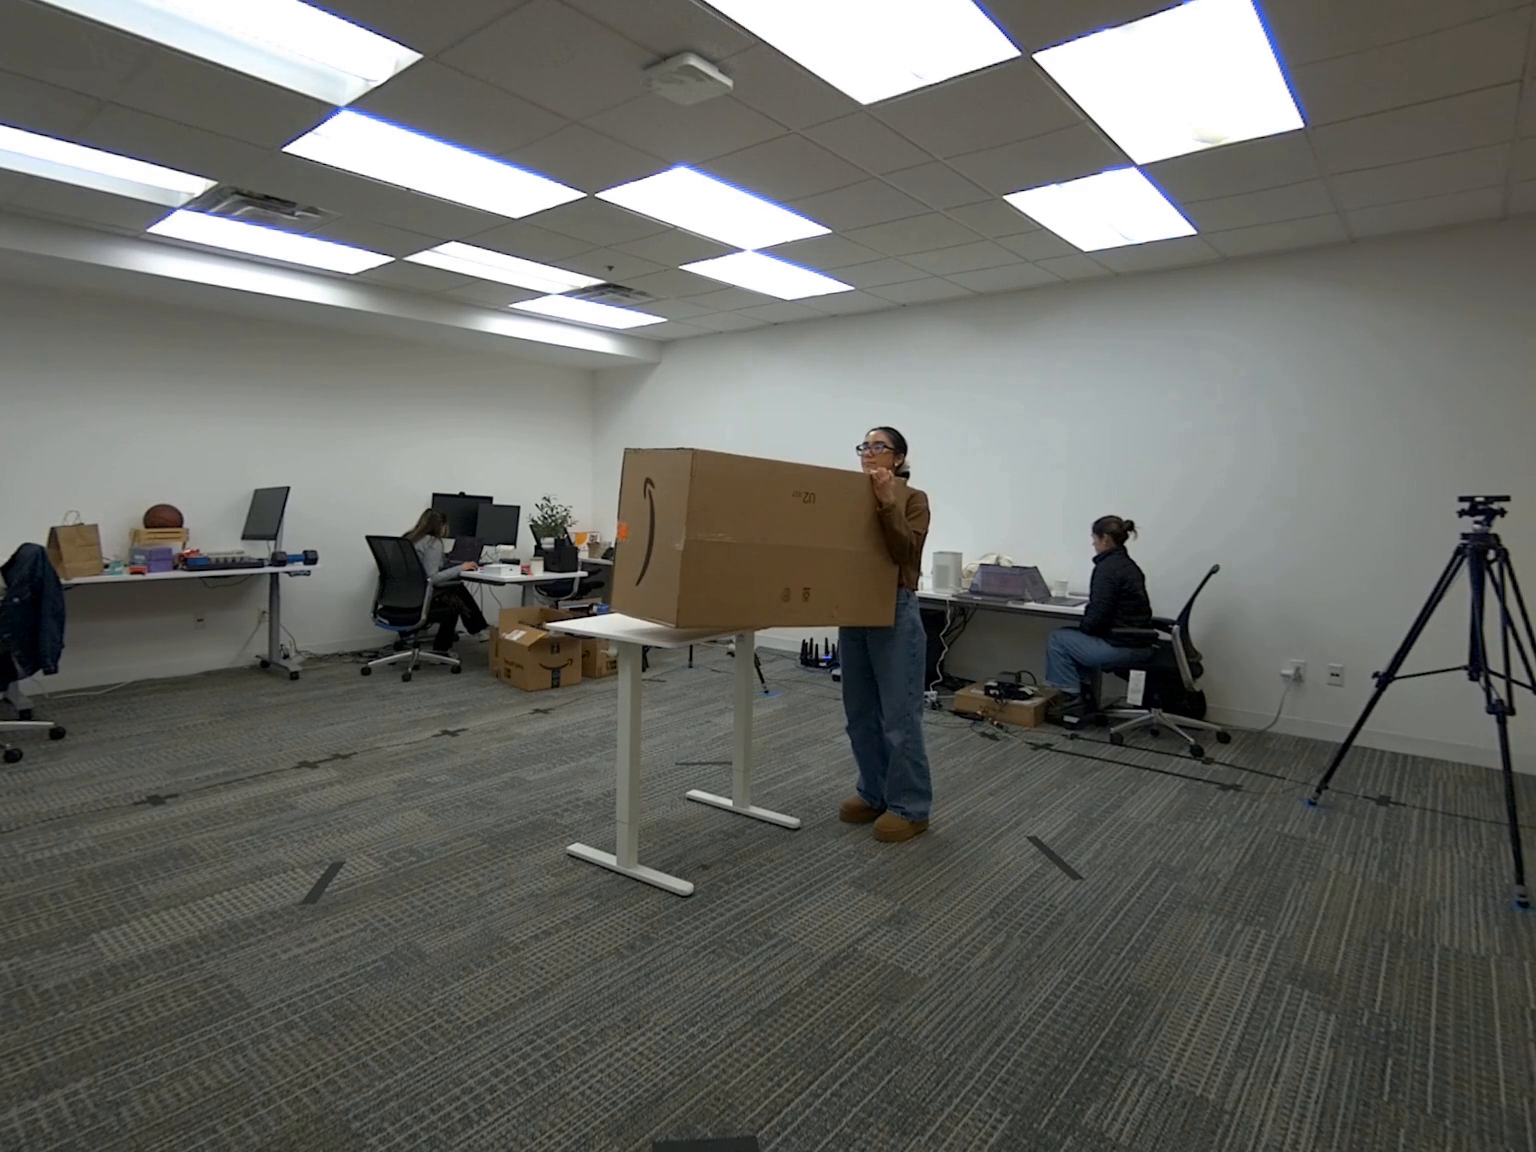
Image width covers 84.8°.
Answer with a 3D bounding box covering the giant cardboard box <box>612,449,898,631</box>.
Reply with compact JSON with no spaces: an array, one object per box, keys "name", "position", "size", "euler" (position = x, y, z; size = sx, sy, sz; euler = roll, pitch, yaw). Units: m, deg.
[{"name":"giant cardboard box","position":[-0.024,-0.124,3.127],"size":[0.993,0.576,0.441],"euler":[2,3,-39]}]
